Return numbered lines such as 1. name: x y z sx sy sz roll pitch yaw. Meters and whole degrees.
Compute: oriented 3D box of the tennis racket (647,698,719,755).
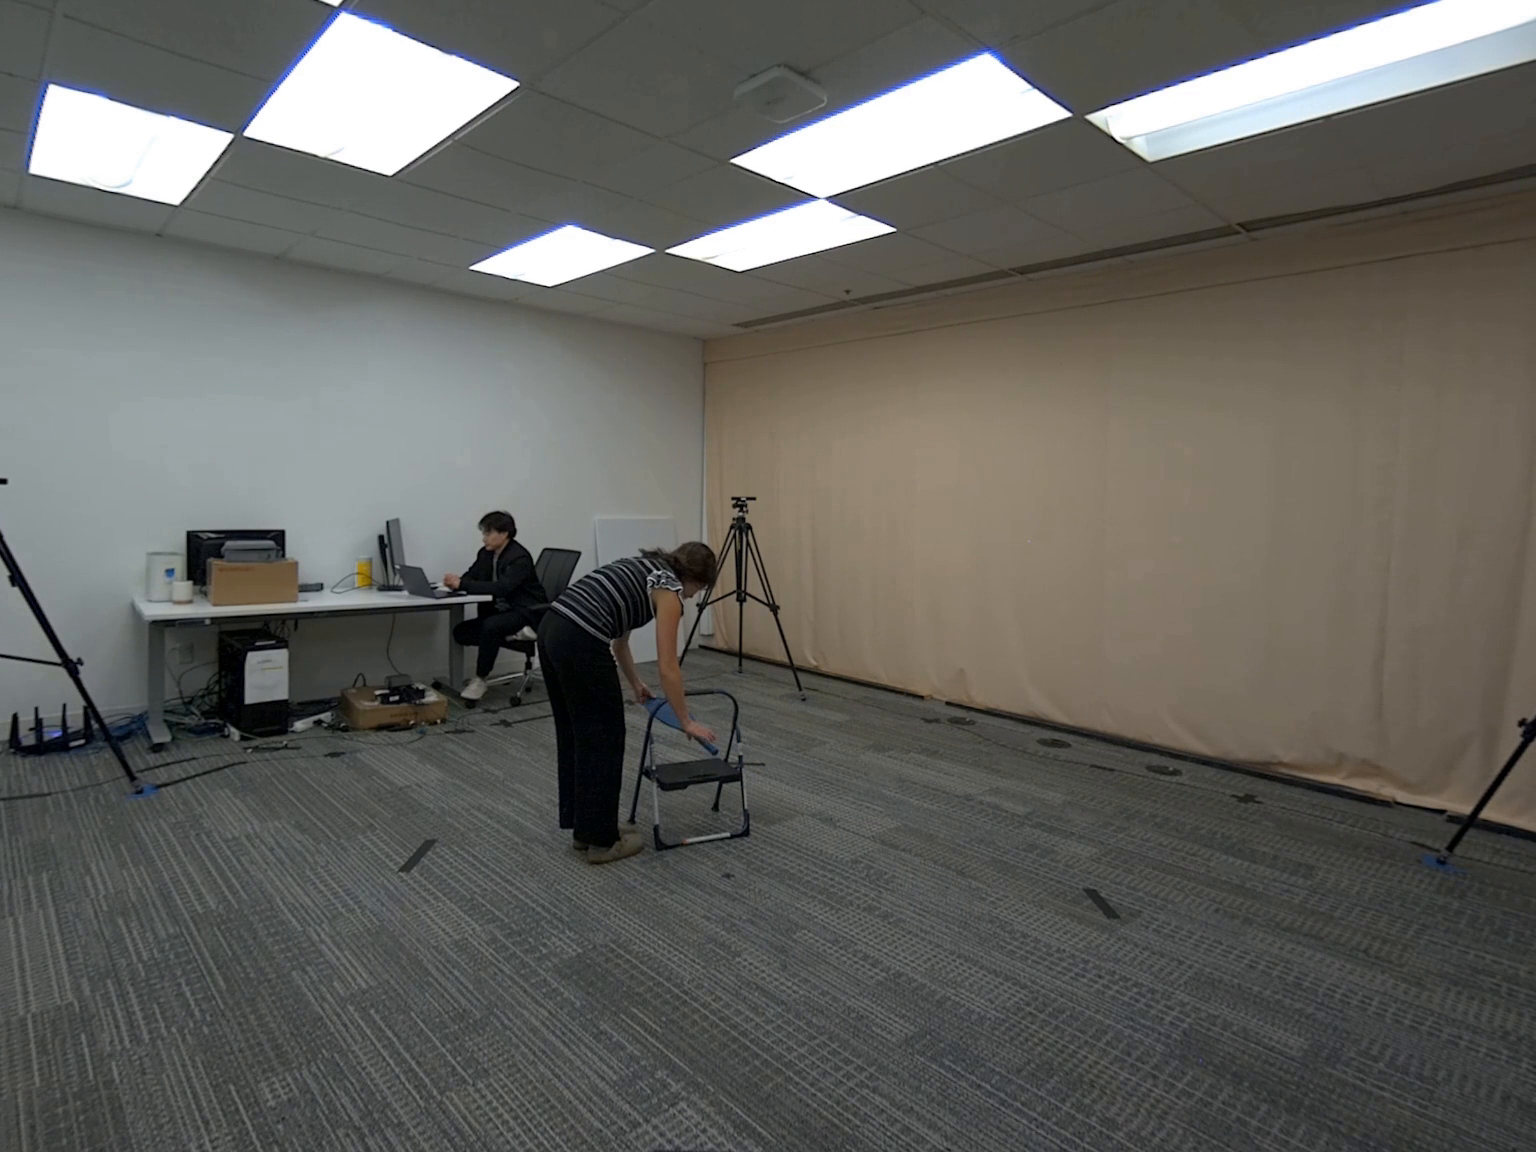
1. tennis racket: -0.383 0.628 3.567 0.446 0.031 0.208 34 18 36
